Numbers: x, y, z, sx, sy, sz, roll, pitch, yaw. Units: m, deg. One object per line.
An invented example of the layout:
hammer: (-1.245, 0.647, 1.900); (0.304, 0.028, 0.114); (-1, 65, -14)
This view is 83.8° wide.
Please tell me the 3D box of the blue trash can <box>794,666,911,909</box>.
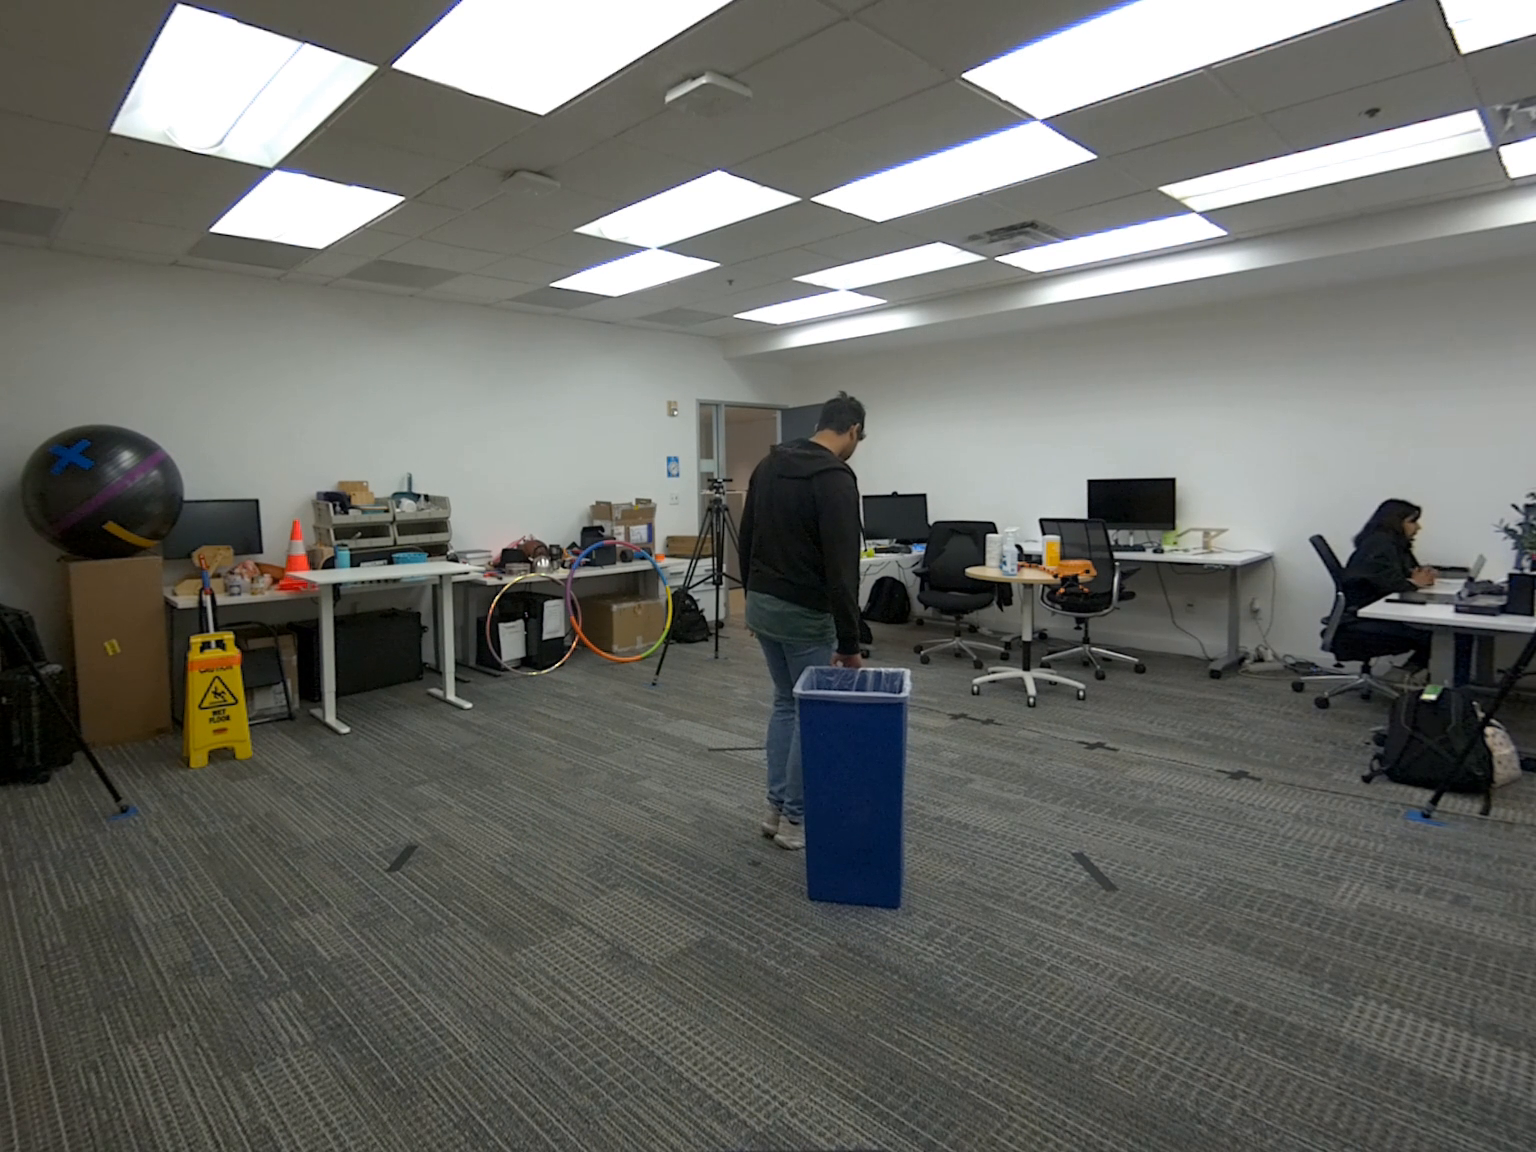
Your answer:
blue trash can: (0.300, 0.703, 2.906); (0.379, 0.710, 0.375); (0, 5, 12)
